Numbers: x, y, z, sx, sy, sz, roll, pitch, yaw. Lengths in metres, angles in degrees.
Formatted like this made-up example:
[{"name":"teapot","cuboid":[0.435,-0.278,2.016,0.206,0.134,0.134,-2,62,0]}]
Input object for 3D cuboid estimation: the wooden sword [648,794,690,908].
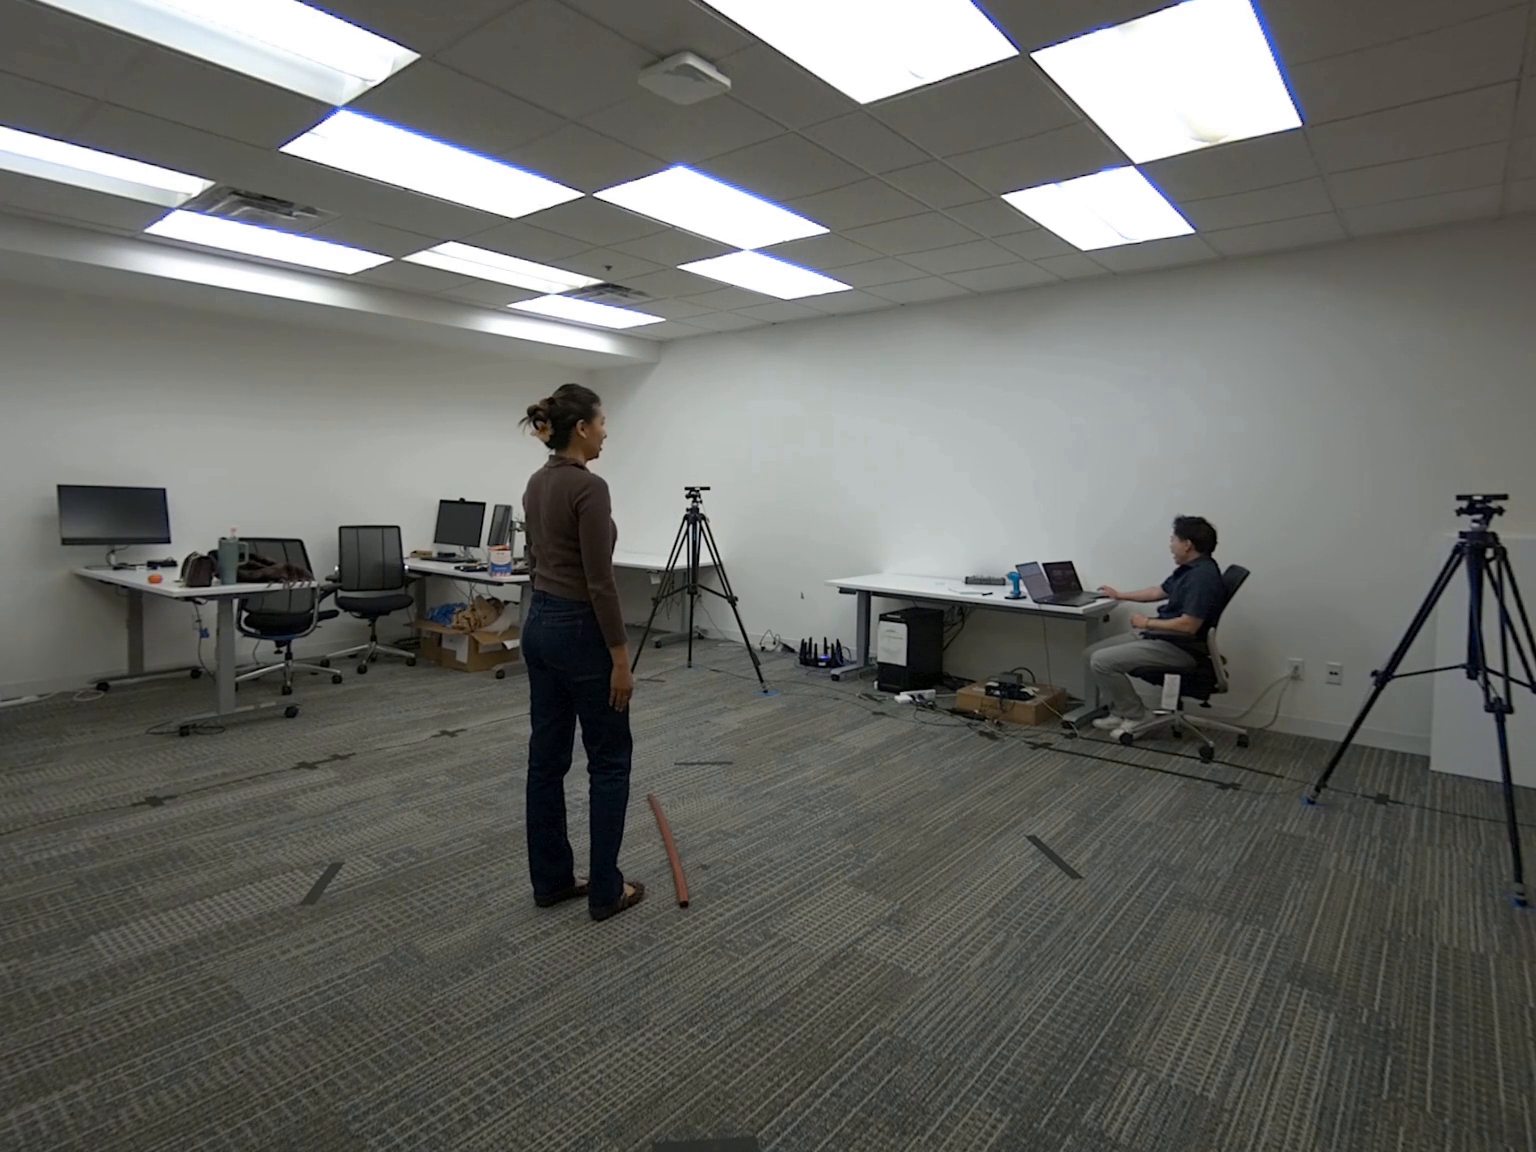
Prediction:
[{"name":"wooden sword","cuboid":[-0.406,1.019,3.308,0.051,0.024,1.042,-17,10,-12]}]
